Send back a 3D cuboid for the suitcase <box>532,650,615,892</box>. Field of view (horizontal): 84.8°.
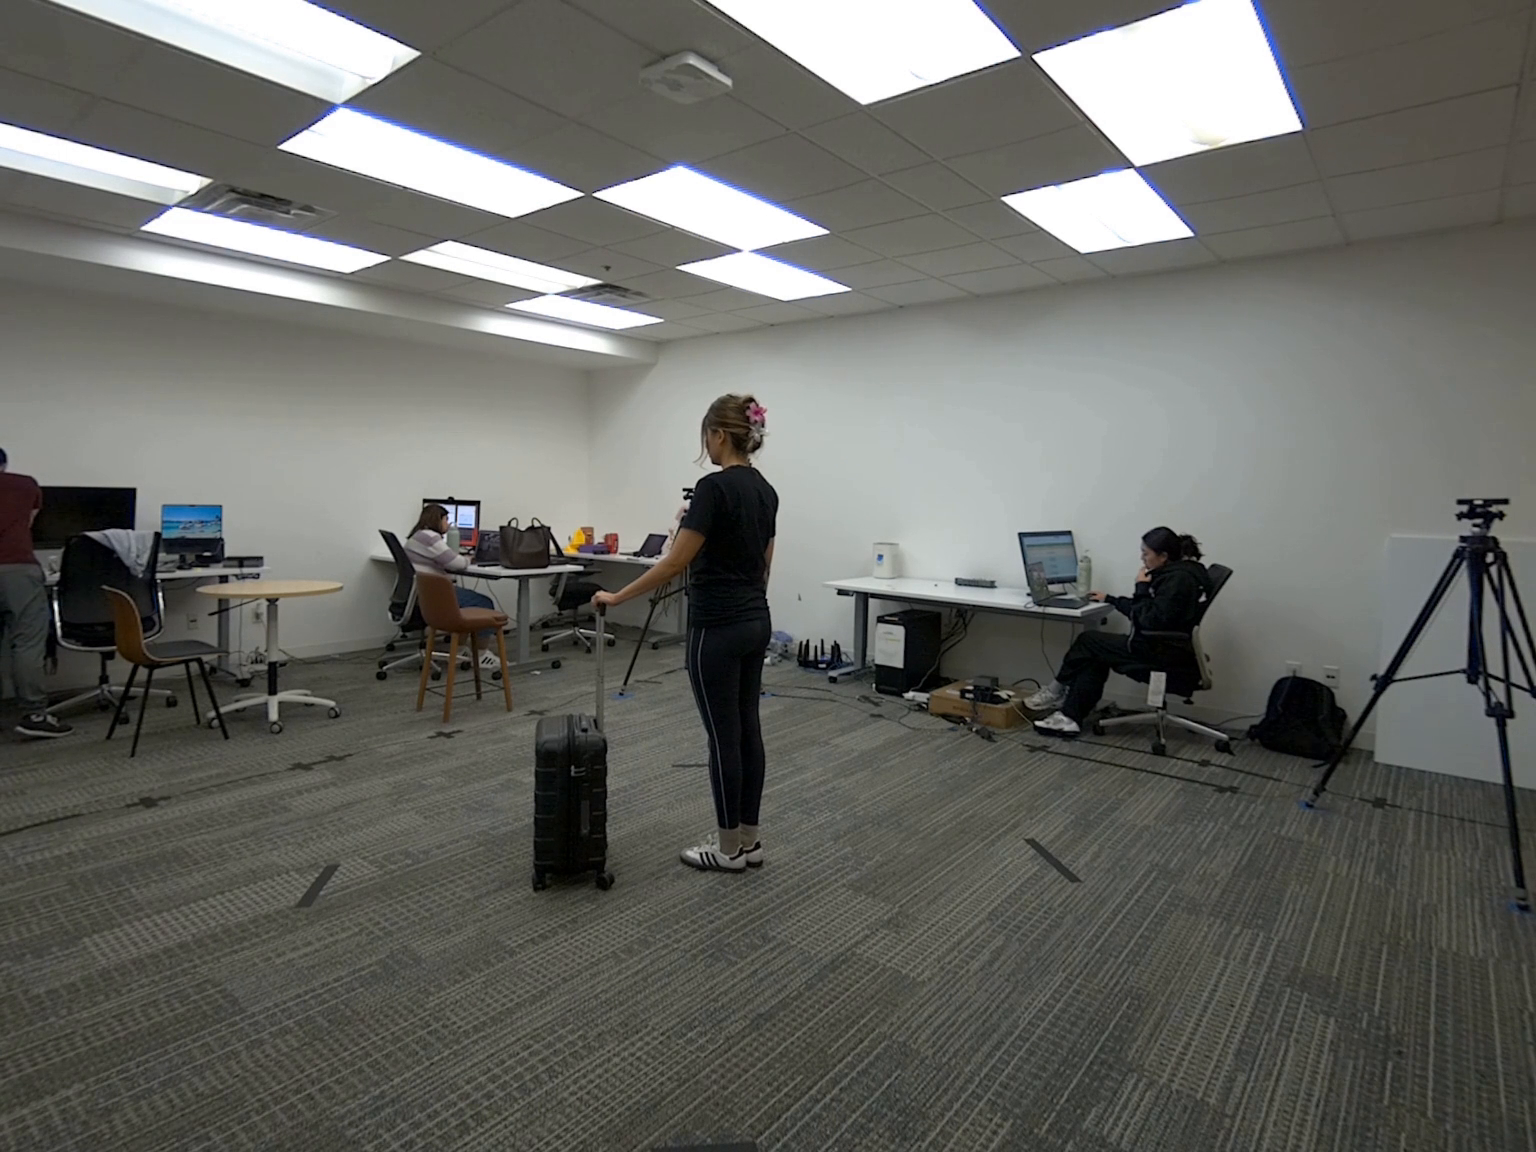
[{"bbox_3d":[-0.730,0.590,3.059,0.254,0.976,0.389,-3,3,-11],"label":"suitcase"}]
